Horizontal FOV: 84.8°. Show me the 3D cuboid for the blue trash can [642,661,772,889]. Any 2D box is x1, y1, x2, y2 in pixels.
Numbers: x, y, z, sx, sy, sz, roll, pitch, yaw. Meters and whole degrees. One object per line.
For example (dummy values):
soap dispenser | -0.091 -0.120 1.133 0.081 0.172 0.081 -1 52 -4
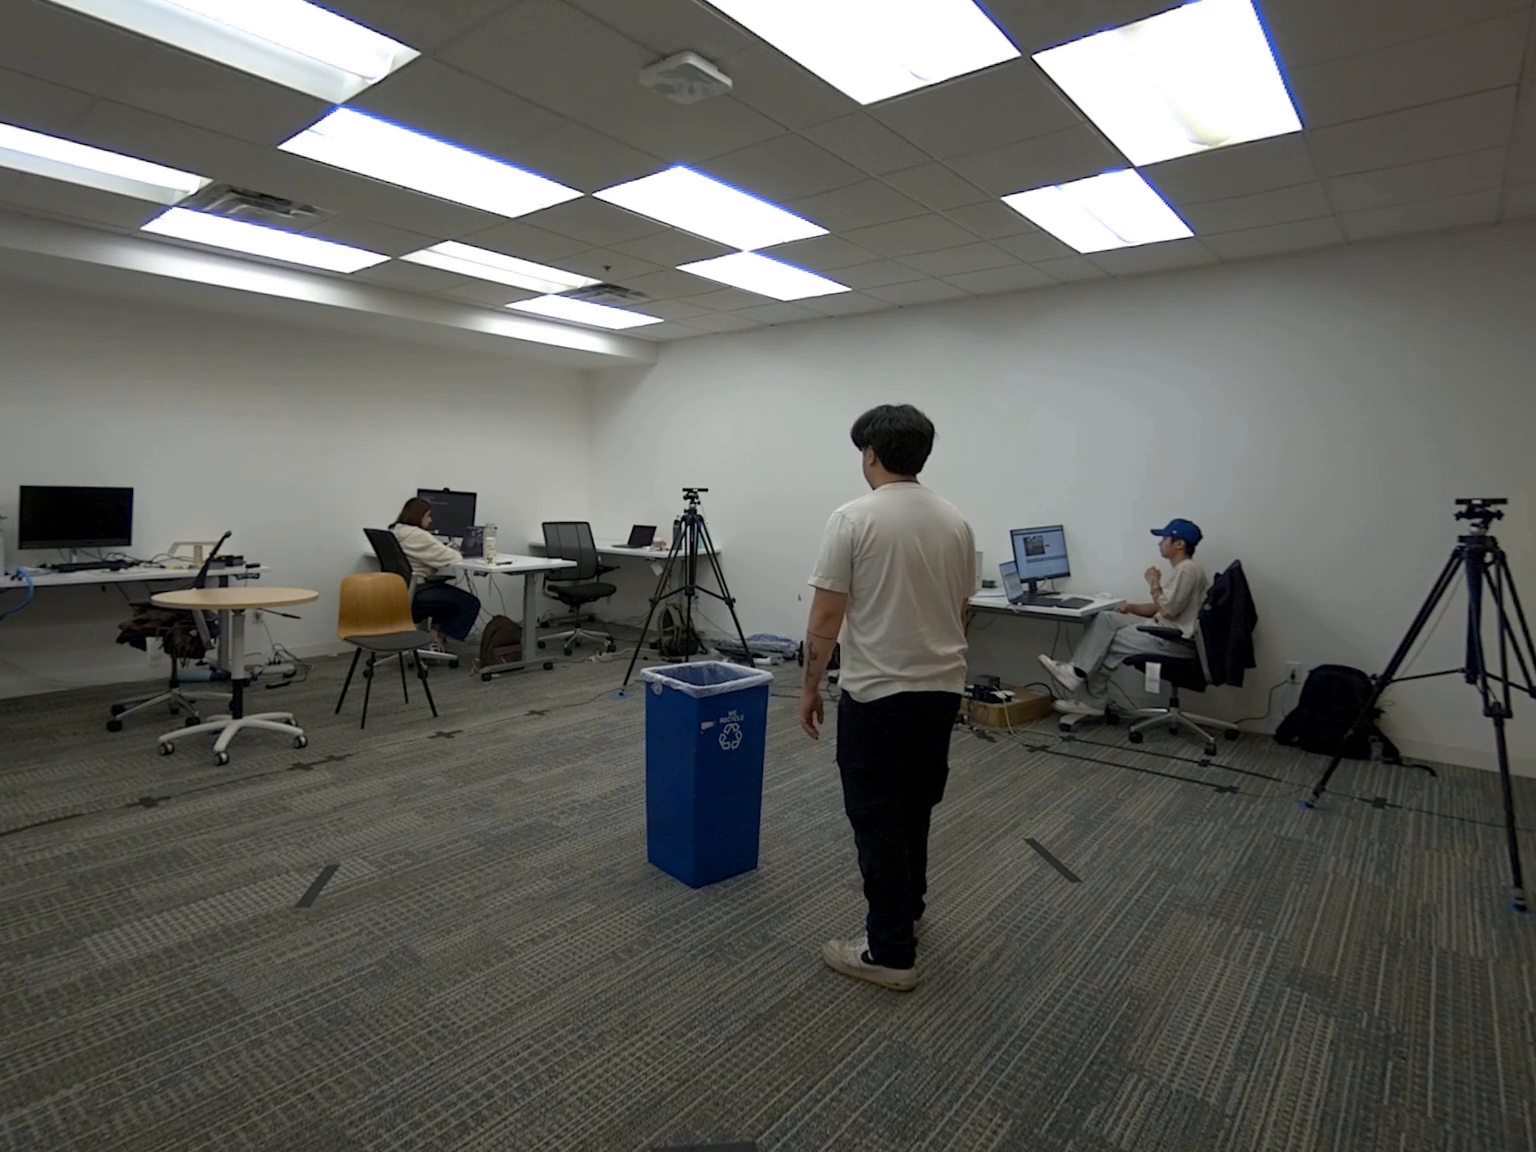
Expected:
blue trash can | -0.241 0.707 3.144 0.363 0.711 0.391 -2 5 -42
